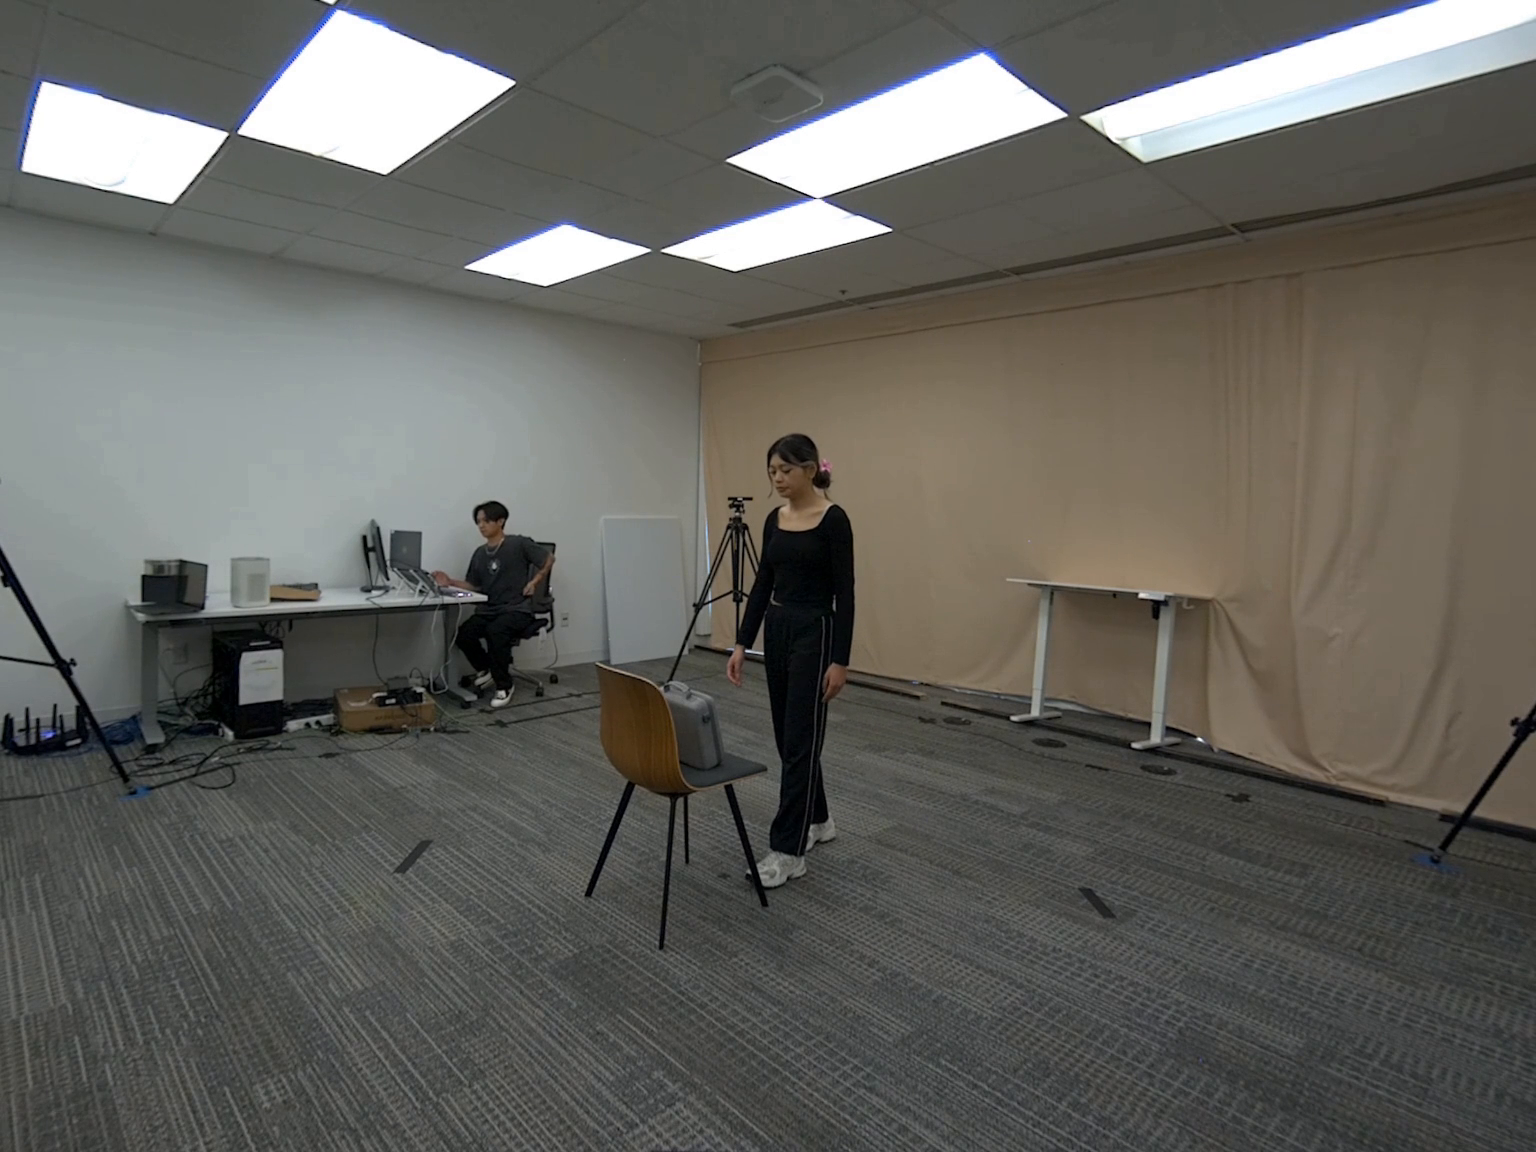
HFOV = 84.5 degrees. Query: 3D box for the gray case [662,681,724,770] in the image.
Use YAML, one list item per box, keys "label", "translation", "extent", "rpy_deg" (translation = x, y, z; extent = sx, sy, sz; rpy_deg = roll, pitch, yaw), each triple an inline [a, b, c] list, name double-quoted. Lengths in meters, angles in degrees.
- label: "gray case"
  translation: [-0.289, 0.512, 2.891]
  extent: [0.103, 0.258, 0.263]
  rpy_deg: [-20, 18, -41]
